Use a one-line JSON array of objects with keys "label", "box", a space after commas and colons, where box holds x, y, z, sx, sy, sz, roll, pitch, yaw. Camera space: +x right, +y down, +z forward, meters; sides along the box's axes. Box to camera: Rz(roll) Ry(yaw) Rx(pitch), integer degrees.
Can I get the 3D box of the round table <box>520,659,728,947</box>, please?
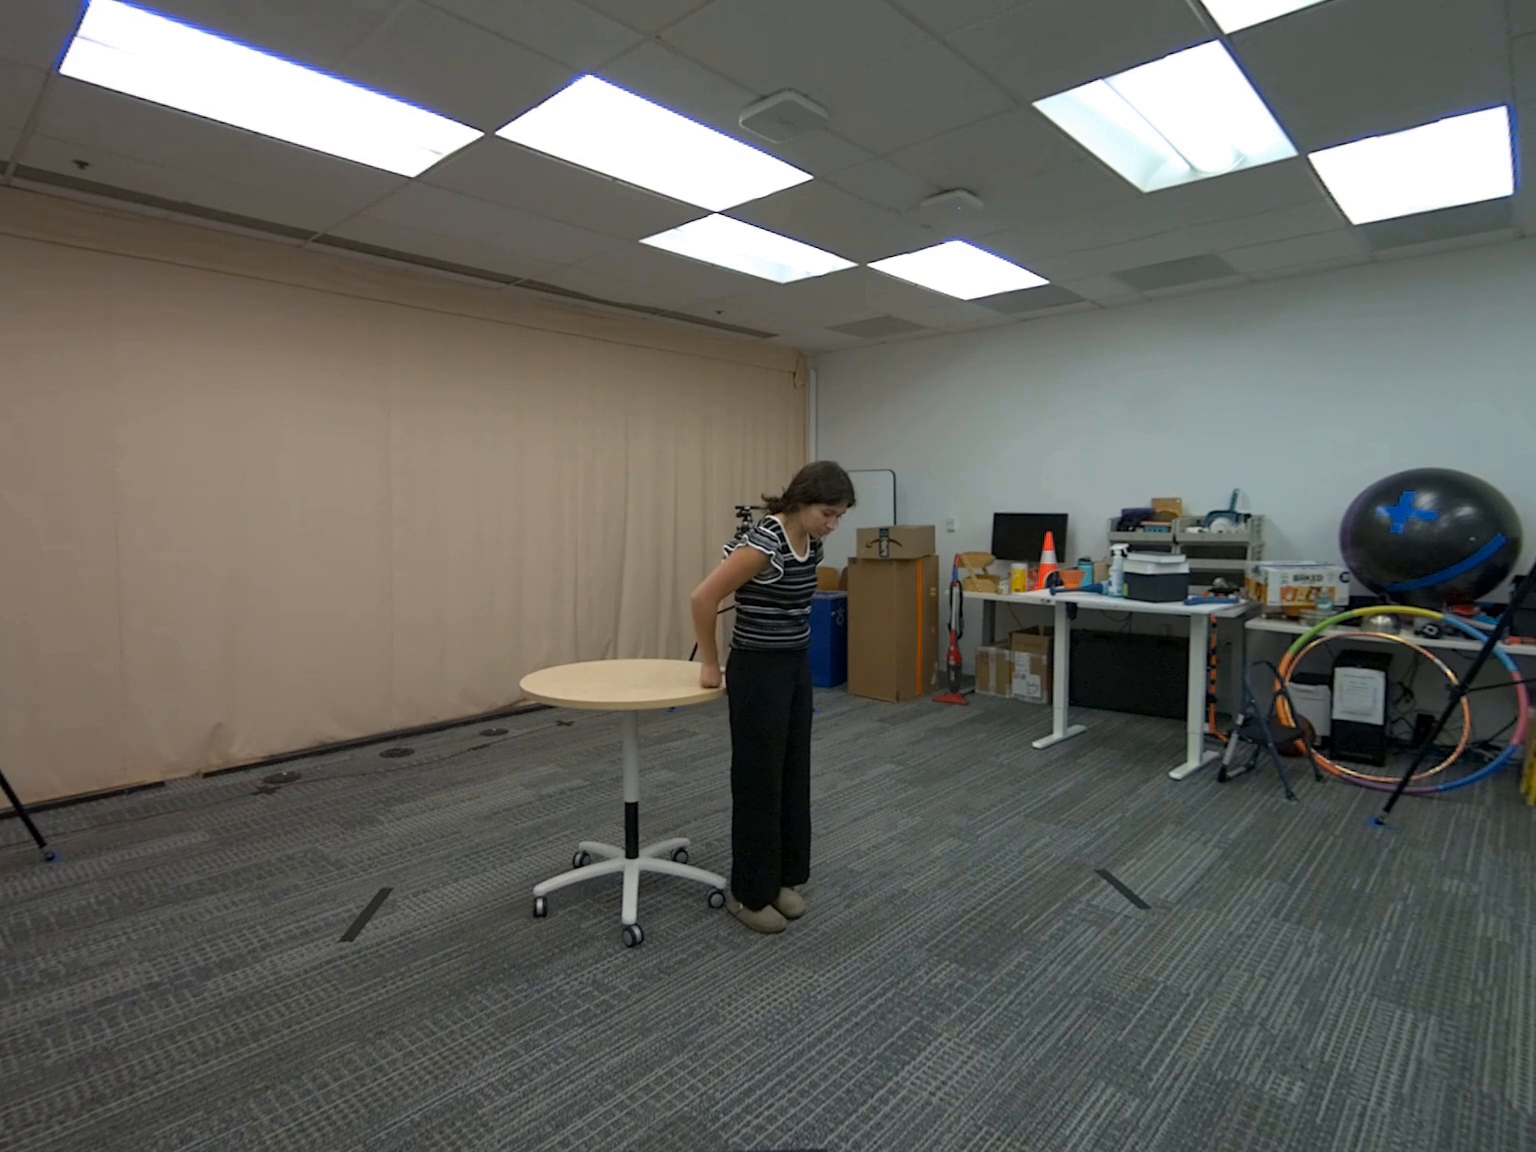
[{"label": "round table", "box": [-0.478, 0.756, 2.994, 0.784, 0.785, 0.787, -1, 3, -2]}]
